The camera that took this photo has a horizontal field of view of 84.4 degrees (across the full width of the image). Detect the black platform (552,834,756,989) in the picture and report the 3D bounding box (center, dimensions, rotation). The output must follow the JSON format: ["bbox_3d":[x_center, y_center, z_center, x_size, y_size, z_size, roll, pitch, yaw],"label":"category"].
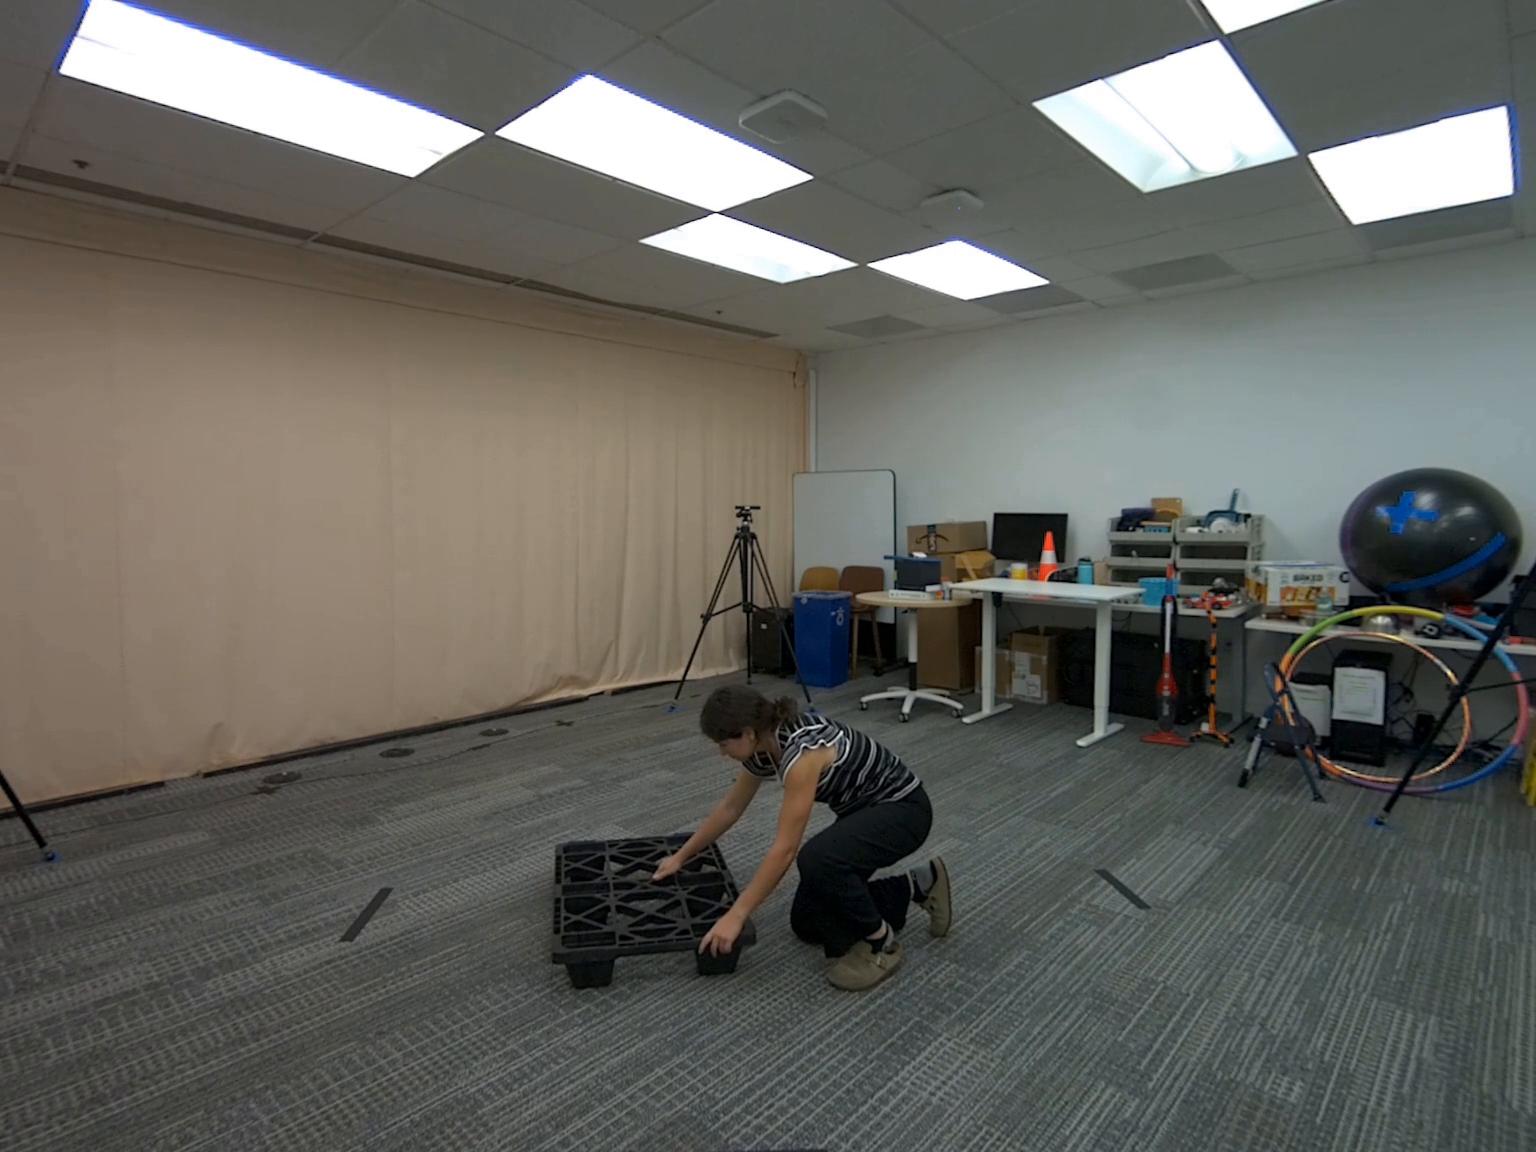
[{"bbox_3d":[-0.409,1.091,2.826,0.598,0.143,0.817,-1,5,-12],"label":"black platform"}]
